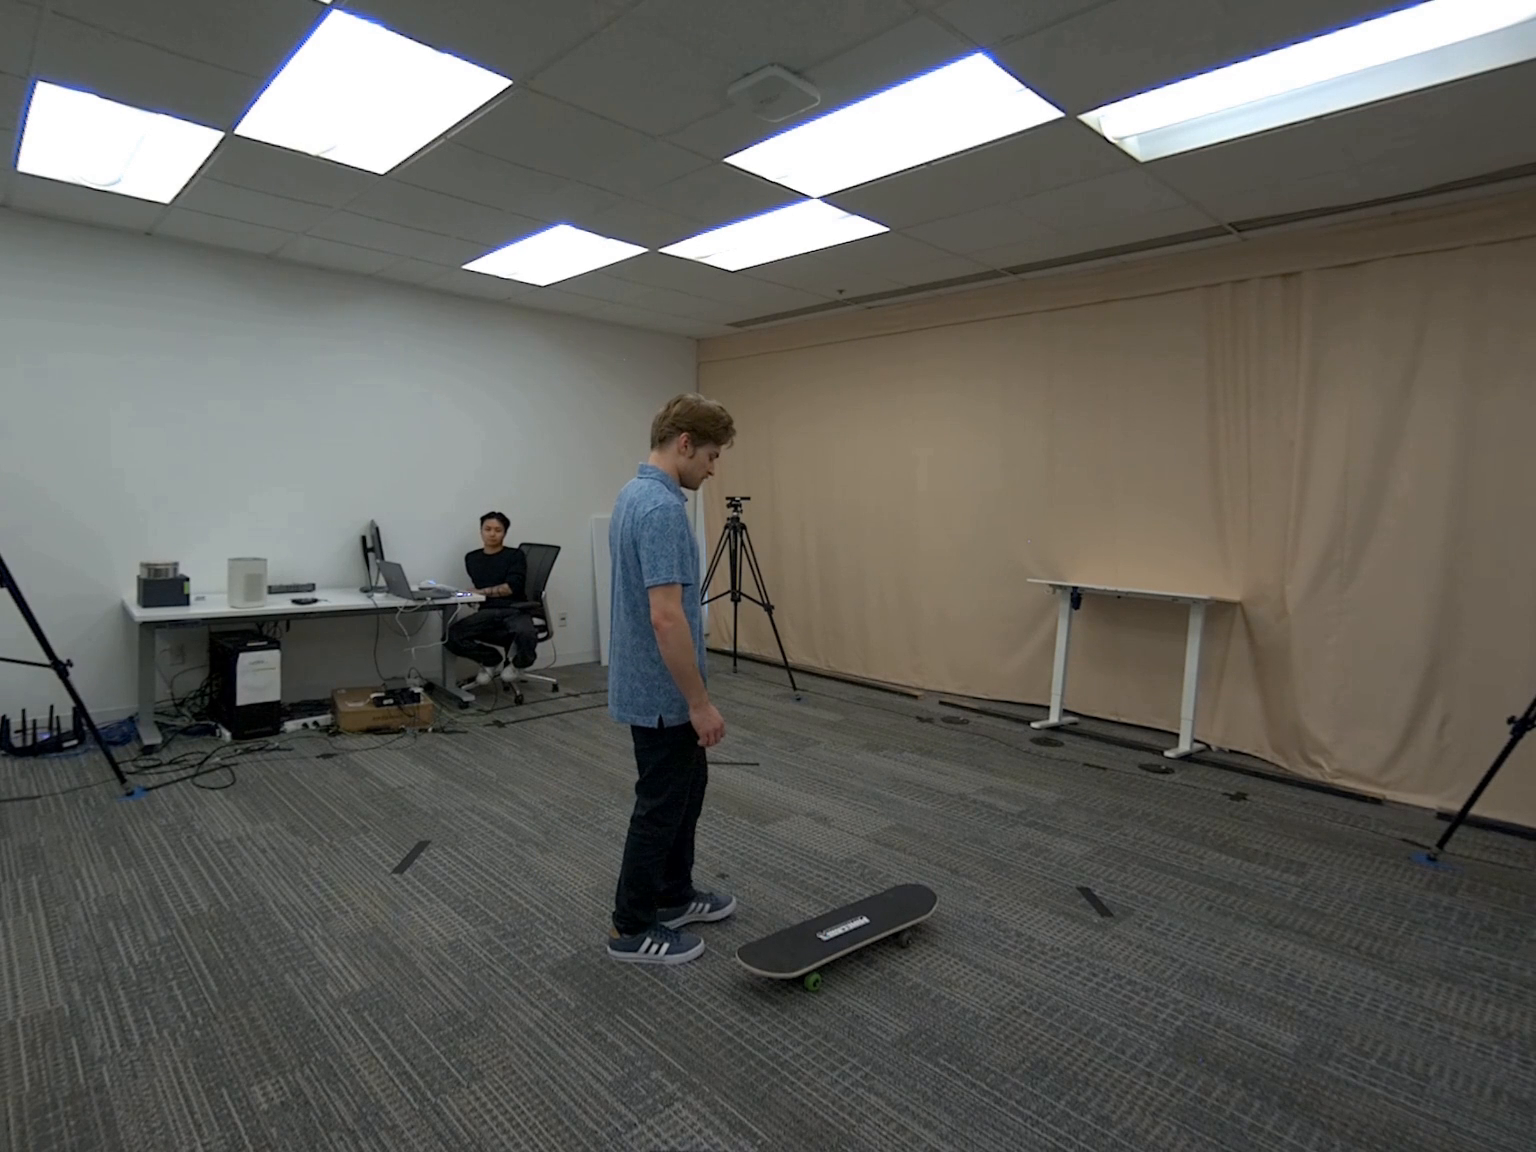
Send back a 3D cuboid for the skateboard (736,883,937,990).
[{"bbox_3d":[0.225,1.107,2.571,0.768,0.110,0.198,-3,7,-39],"label":"skateboard"}]
